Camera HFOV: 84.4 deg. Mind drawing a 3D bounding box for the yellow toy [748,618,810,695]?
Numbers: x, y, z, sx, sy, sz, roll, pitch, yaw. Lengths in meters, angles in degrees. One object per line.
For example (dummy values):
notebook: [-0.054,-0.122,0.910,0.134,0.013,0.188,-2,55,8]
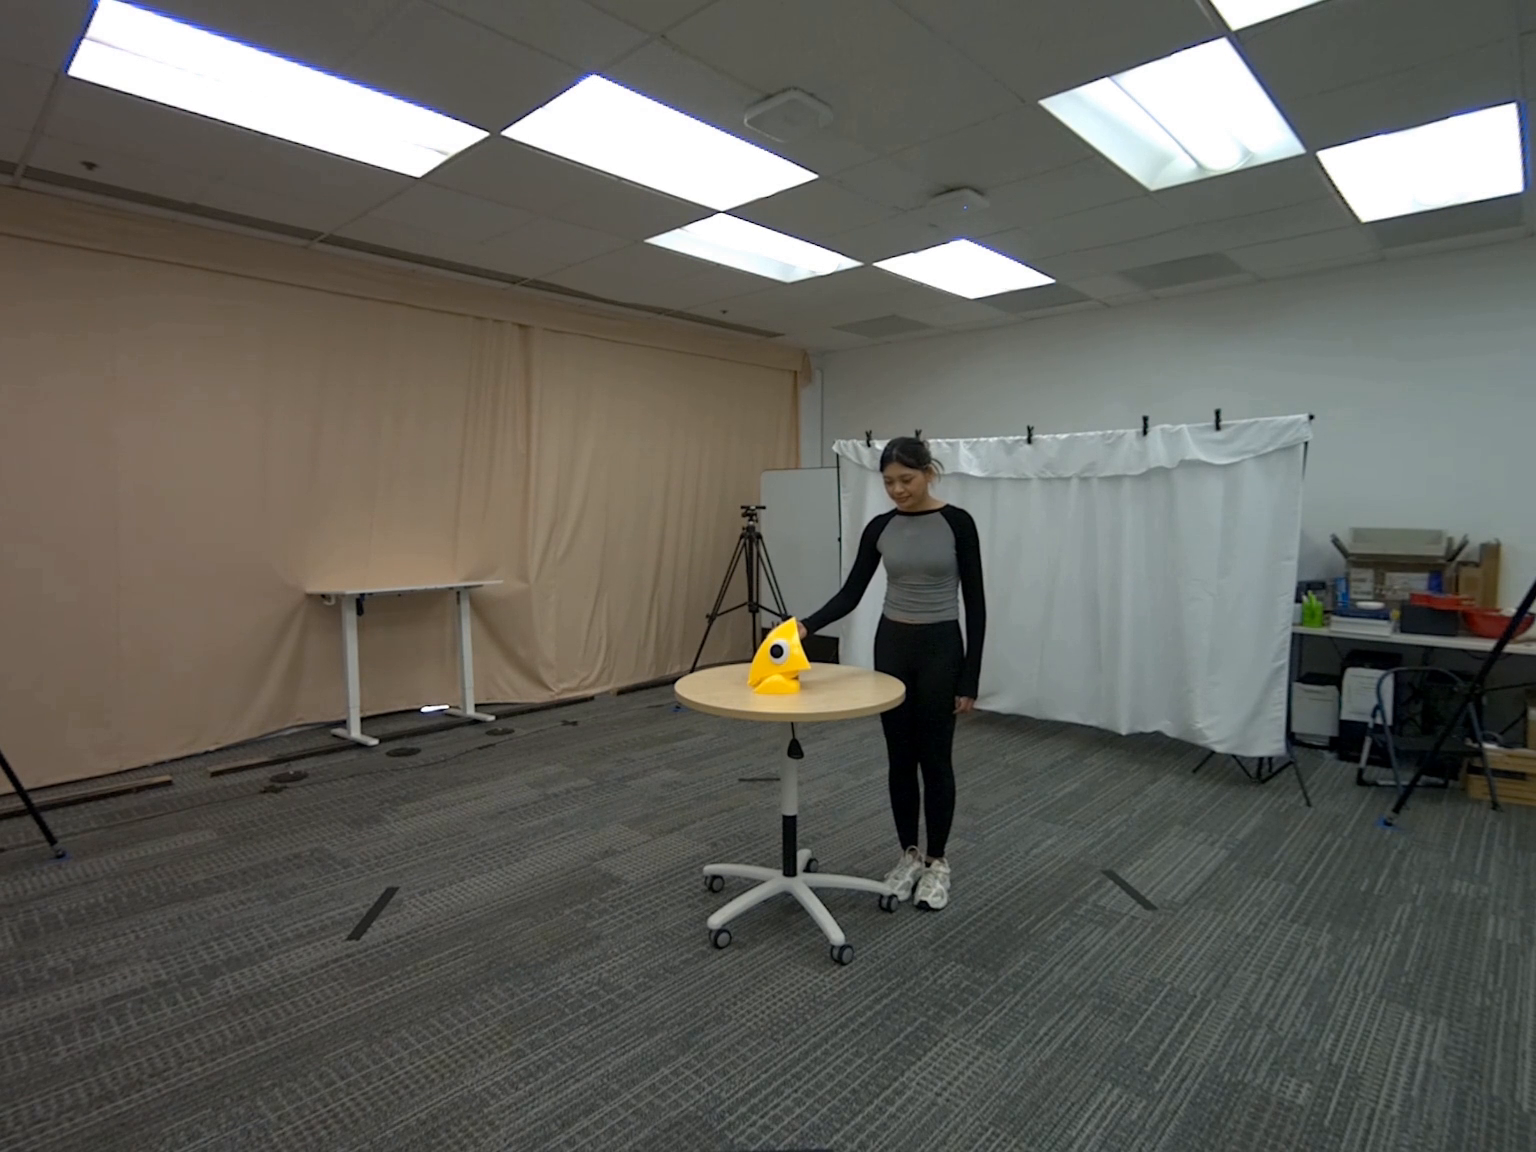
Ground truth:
yellow toy: [0.034,0.254,2.770,0.191,0.230,0.207,-1,4,-11]
